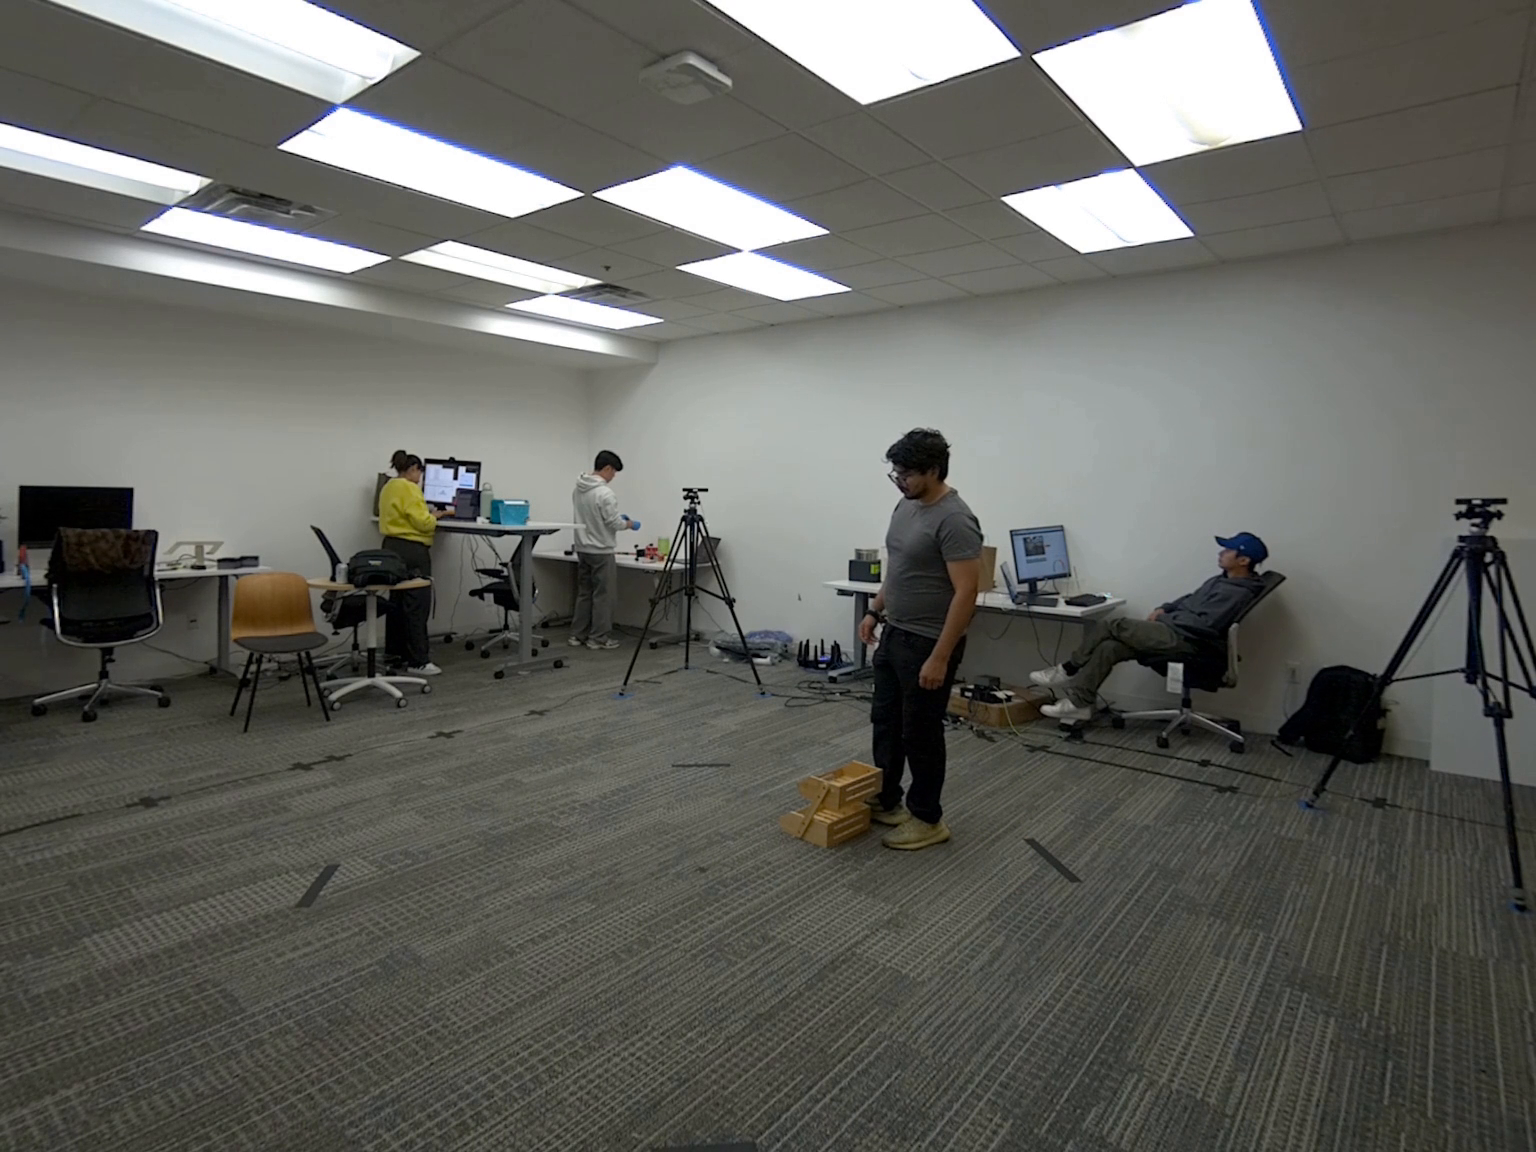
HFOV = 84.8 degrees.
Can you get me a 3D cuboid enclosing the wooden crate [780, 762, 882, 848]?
[{"bbox_3d":[0.247,0.910,3.494,0.312,0.272,0.315,6,7,42],"label":"wooden crate"}]
